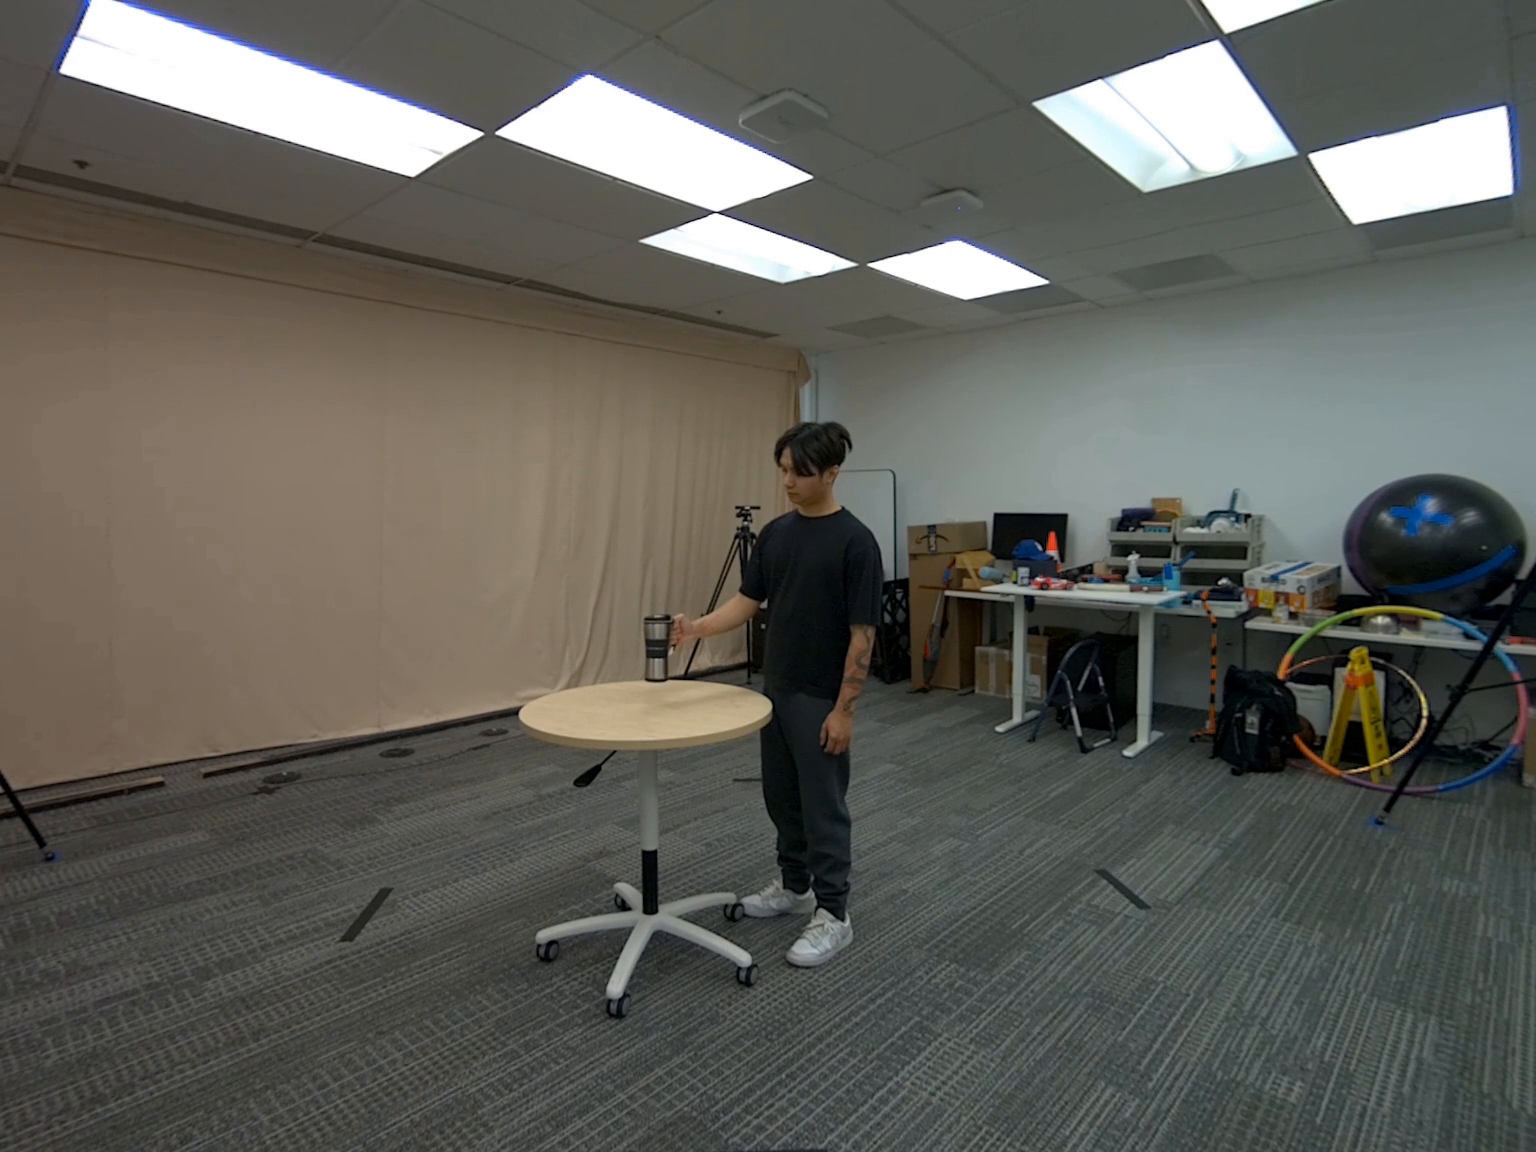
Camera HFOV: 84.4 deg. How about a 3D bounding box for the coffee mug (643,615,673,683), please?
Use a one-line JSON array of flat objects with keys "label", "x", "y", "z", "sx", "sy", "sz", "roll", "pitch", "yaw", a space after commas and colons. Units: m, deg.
[{"label": "coffee mug", "x": -0.315, "y": 0.225, "z": 2.614, "sx": 0.118, "sy": 0.203, "sz": 0.090, "roll": -1, "pitch": -1, "yaw": -34}]
